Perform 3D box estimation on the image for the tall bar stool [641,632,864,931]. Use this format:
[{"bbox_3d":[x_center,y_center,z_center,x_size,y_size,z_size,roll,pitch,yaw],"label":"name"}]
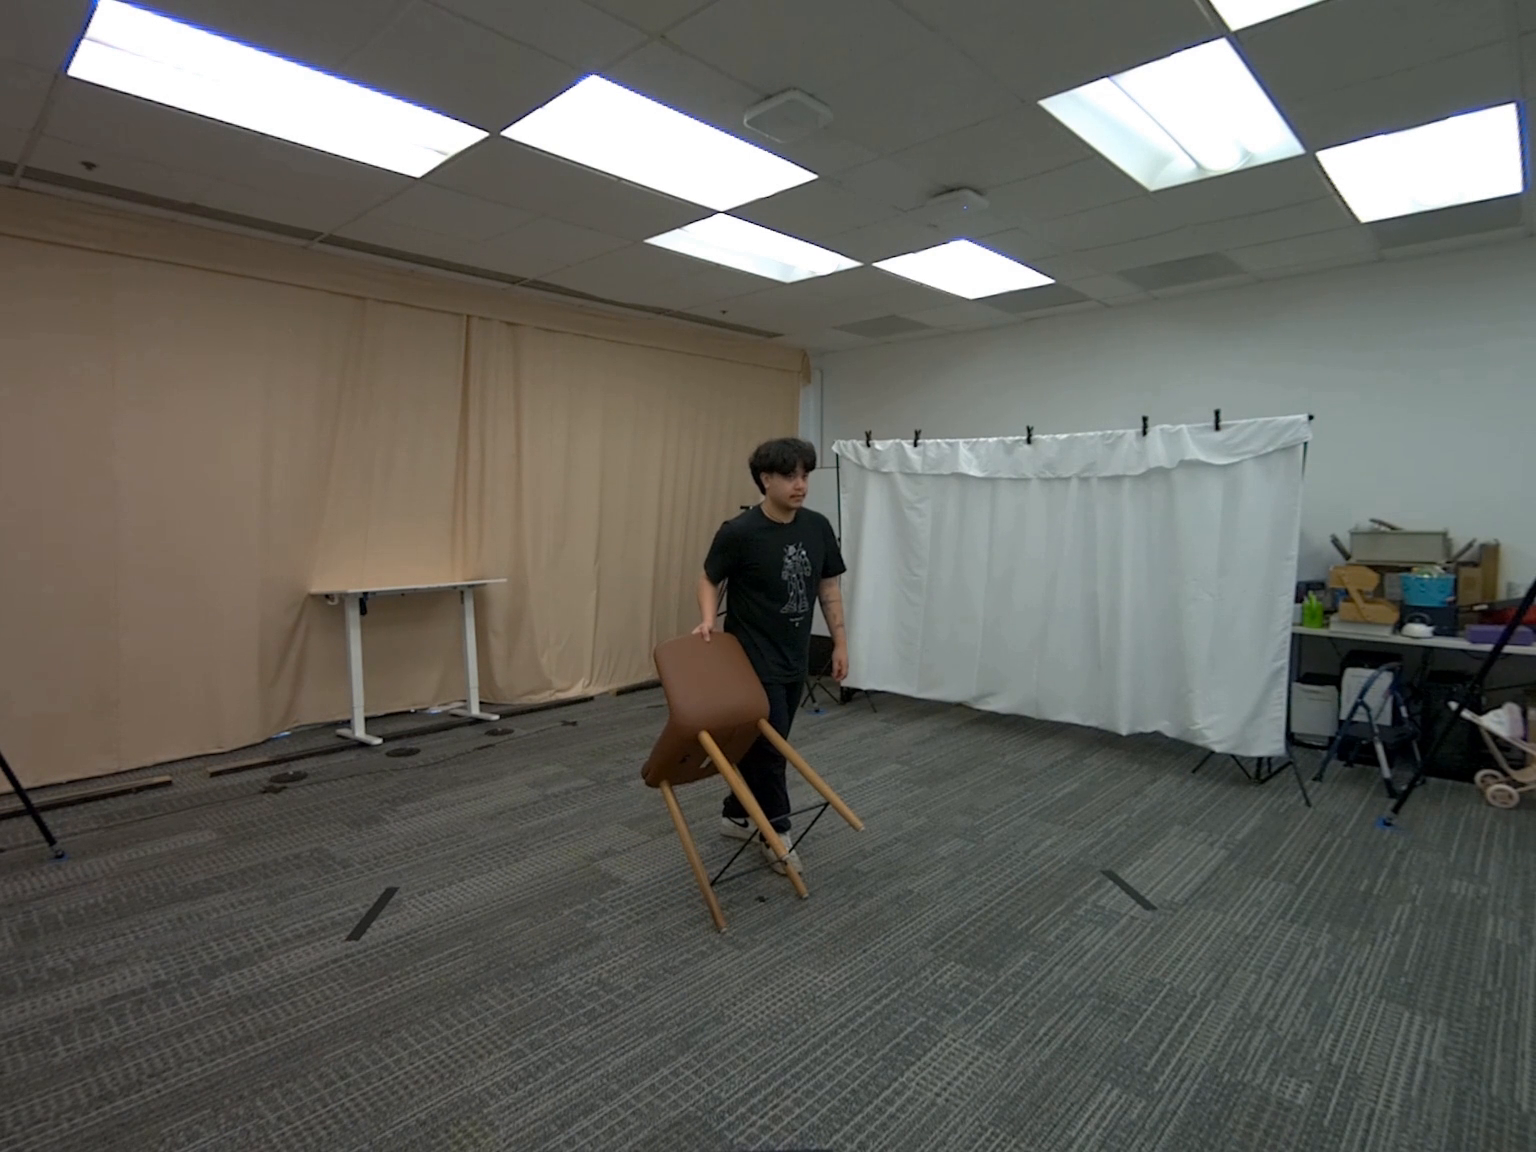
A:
[{"bbox_3d":[-0.136,0.685,2.989,0.443,0.468,0.917,-5,48,-41],"label":"tall bar stool"}]
